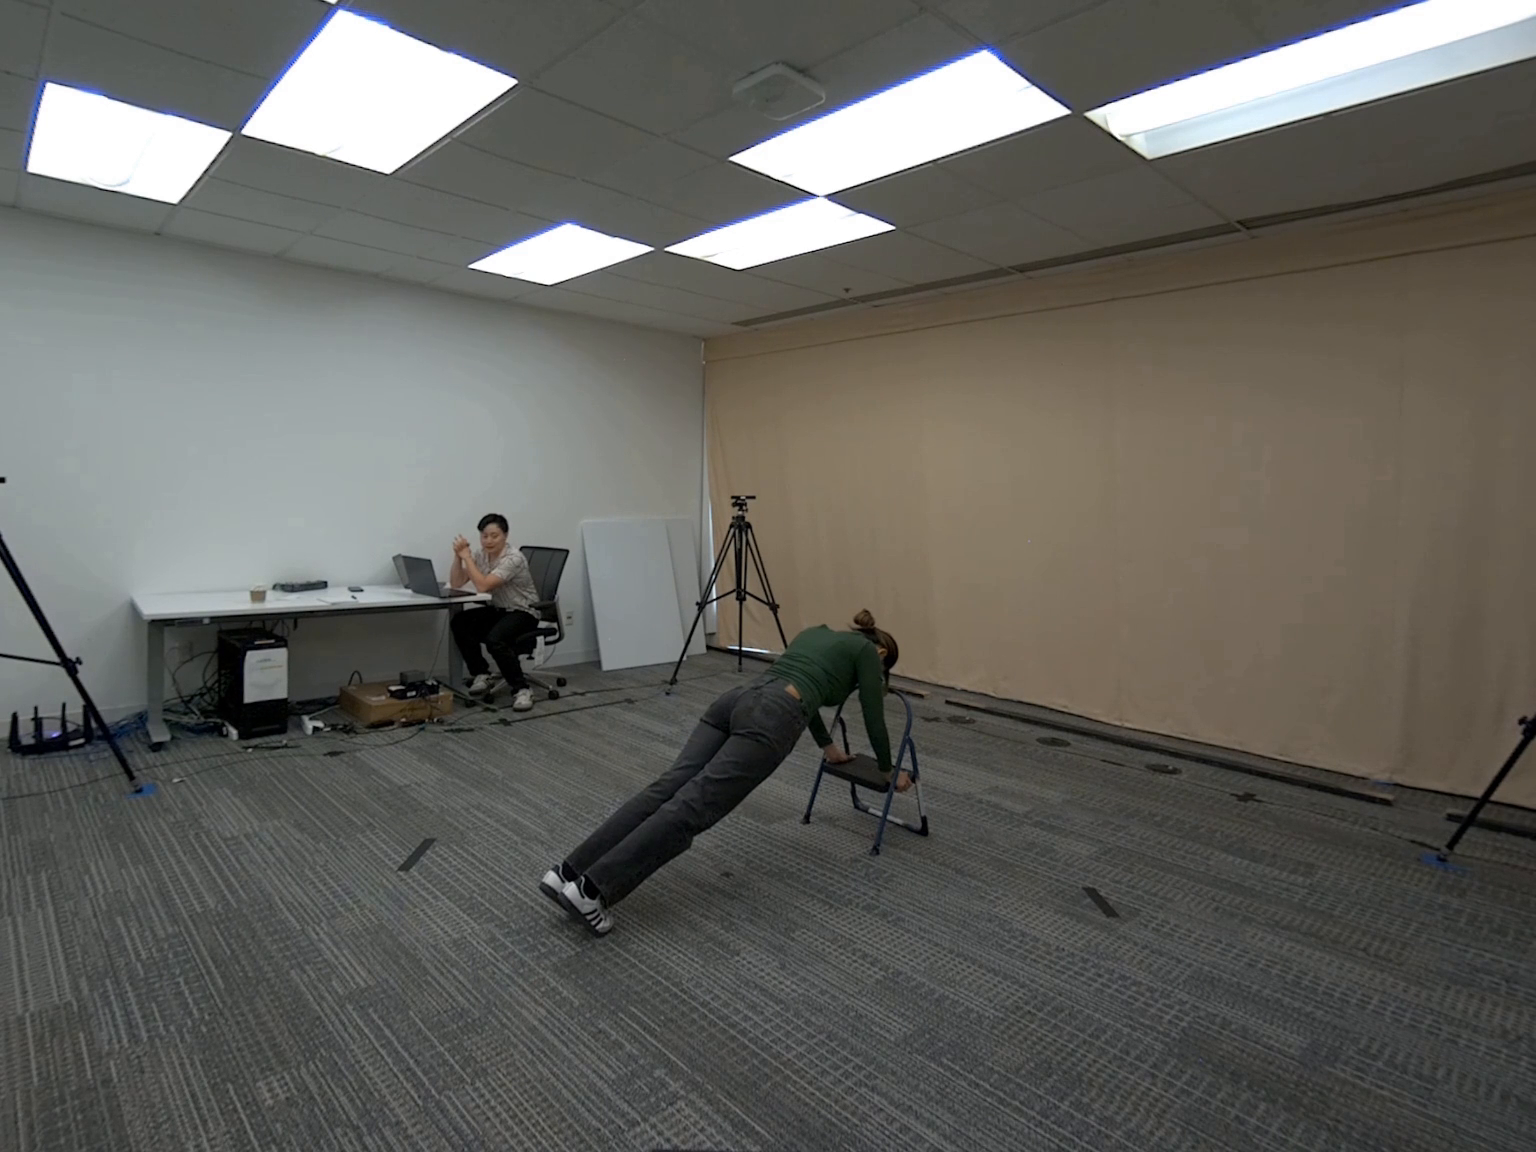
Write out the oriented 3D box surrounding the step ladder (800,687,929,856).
[{"bbox_3d":[0.411,0.774,3.557,0.341,0.605,0.441,-1,4,-40],"label":"step ladder"}]
